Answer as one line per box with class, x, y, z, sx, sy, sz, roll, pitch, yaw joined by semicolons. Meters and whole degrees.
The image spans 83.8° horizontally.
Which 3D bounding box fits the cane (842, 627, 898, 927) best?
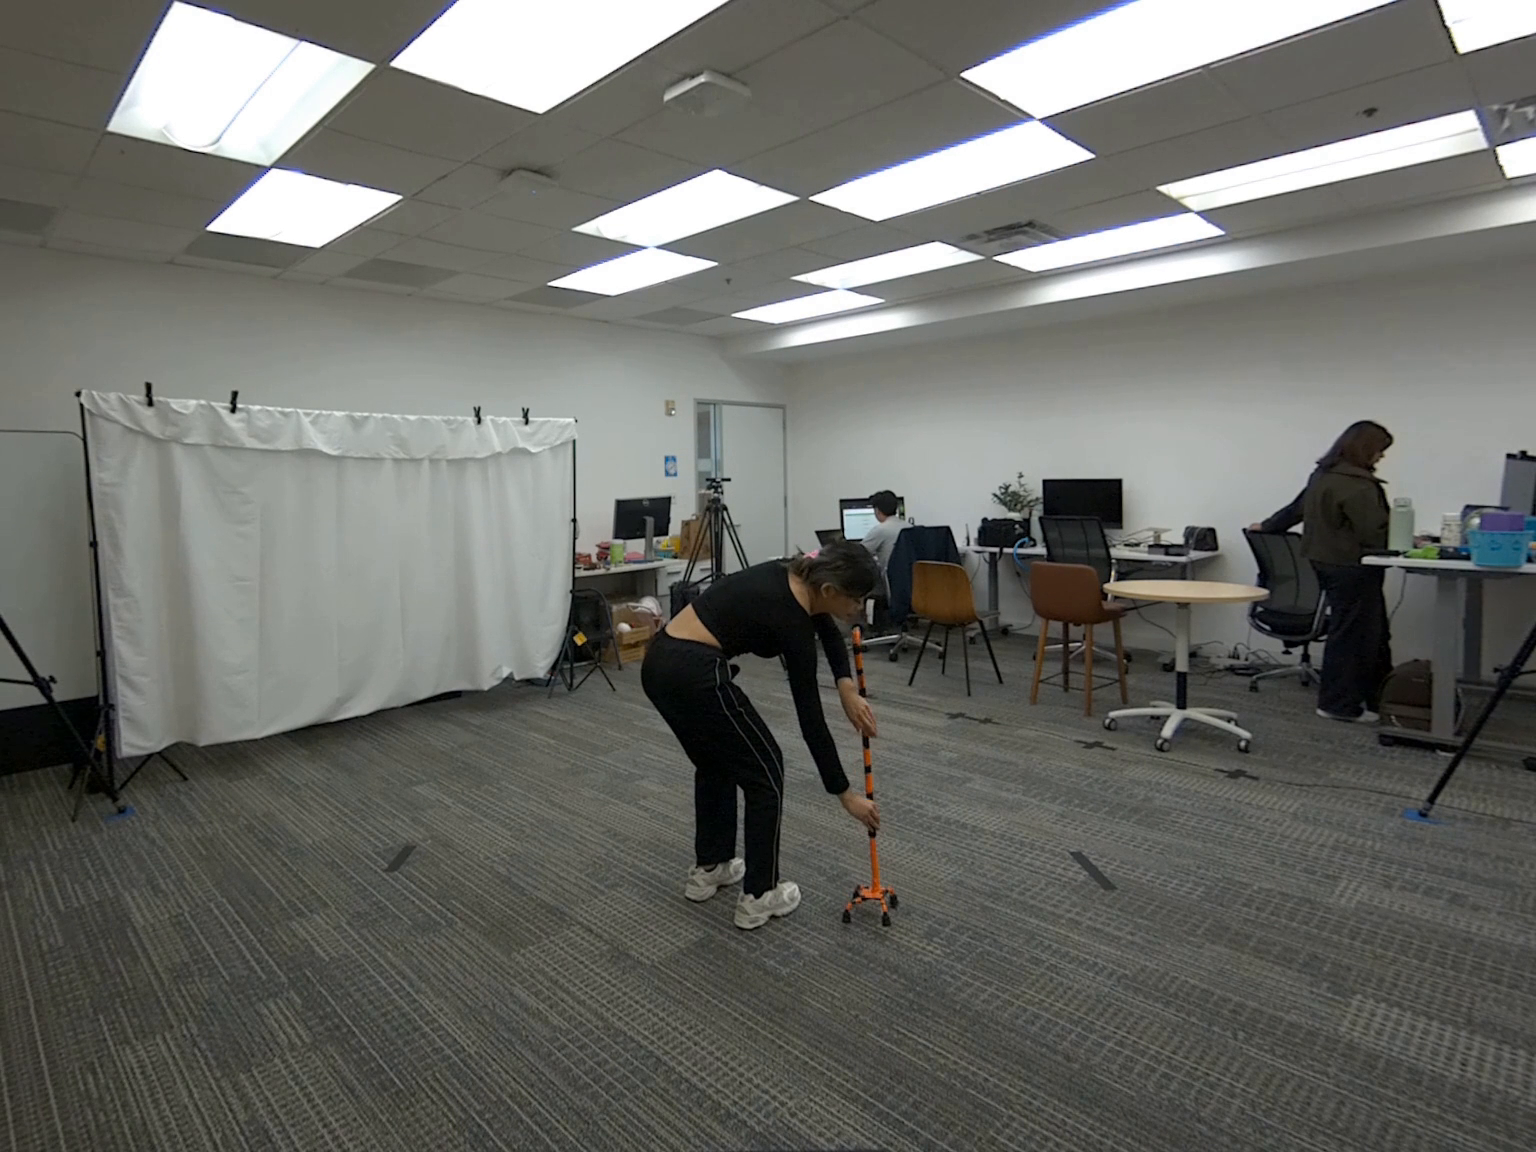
cane;0.300;0.606;2.736;0.154;0.912;0.203;-5;-4;15
